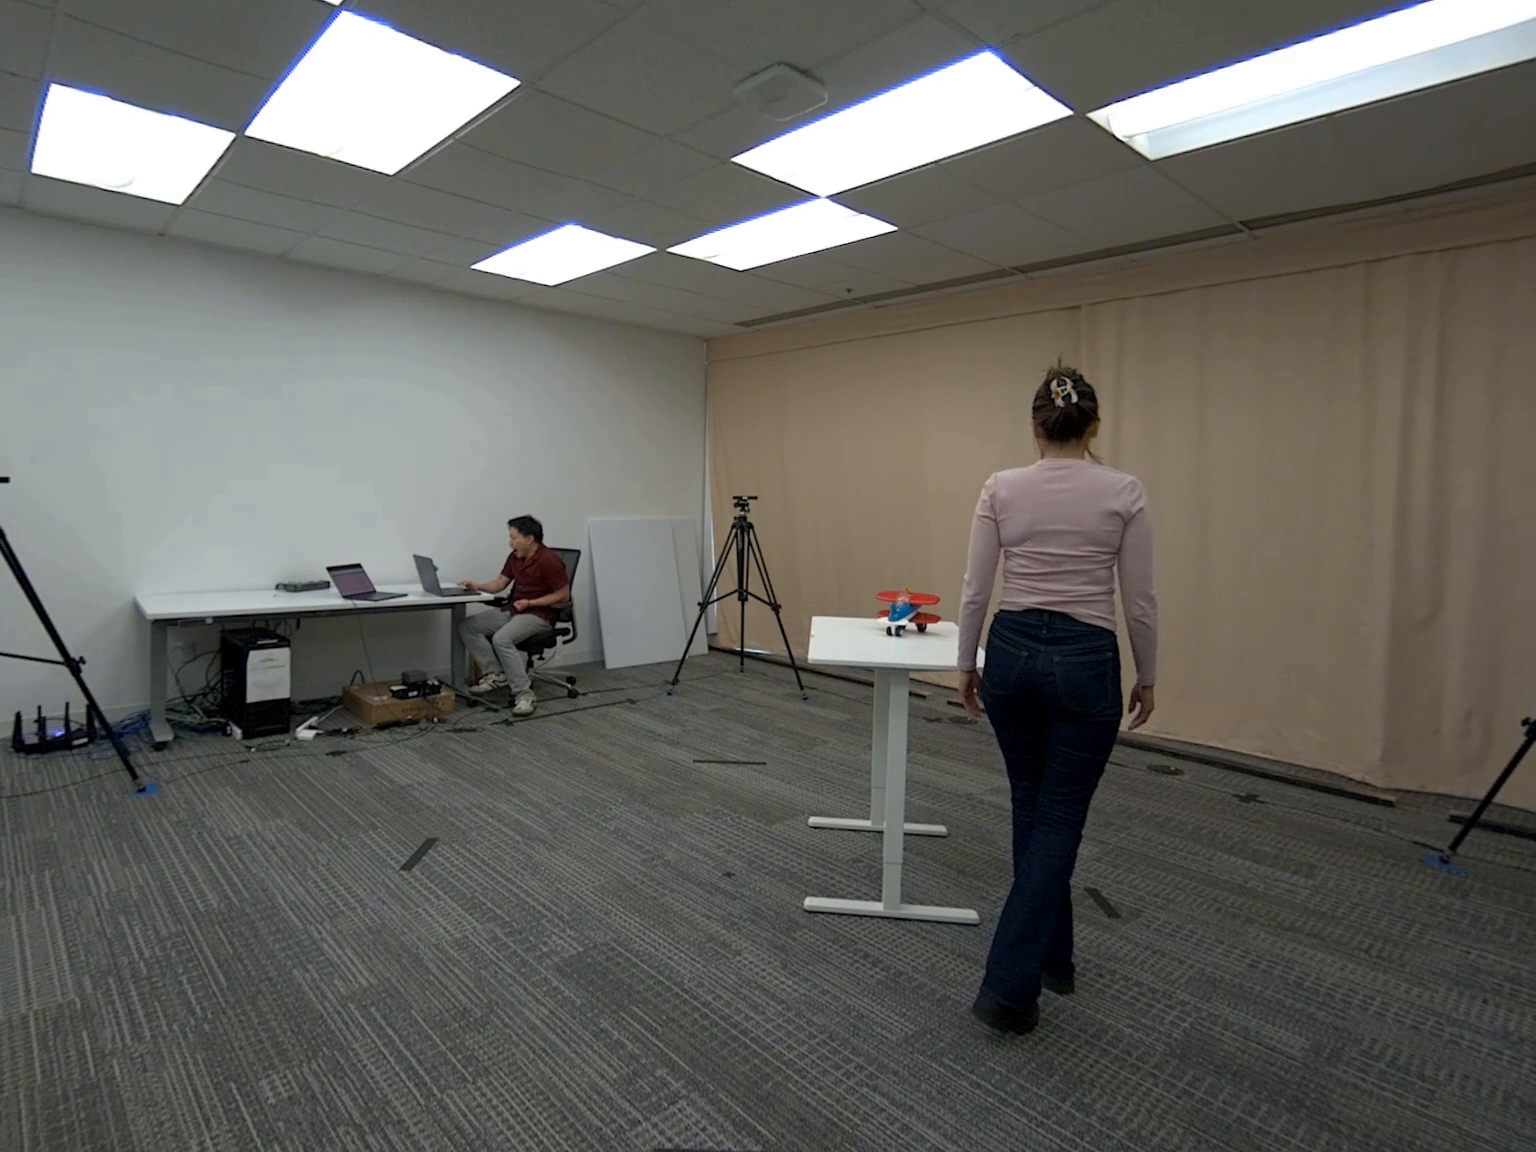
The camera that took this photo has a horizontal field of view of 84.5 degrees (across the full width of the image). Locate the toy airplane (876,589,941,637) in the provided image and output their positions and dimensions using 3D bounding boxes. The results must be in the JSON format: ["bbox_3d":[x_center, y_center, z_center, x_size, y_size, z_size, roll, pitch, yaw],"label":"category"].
[{"bbox_3d":[0.541,0.147,3.271,0.252,0.156,0.259,2,4,3],"label":"toy airplane"}]
